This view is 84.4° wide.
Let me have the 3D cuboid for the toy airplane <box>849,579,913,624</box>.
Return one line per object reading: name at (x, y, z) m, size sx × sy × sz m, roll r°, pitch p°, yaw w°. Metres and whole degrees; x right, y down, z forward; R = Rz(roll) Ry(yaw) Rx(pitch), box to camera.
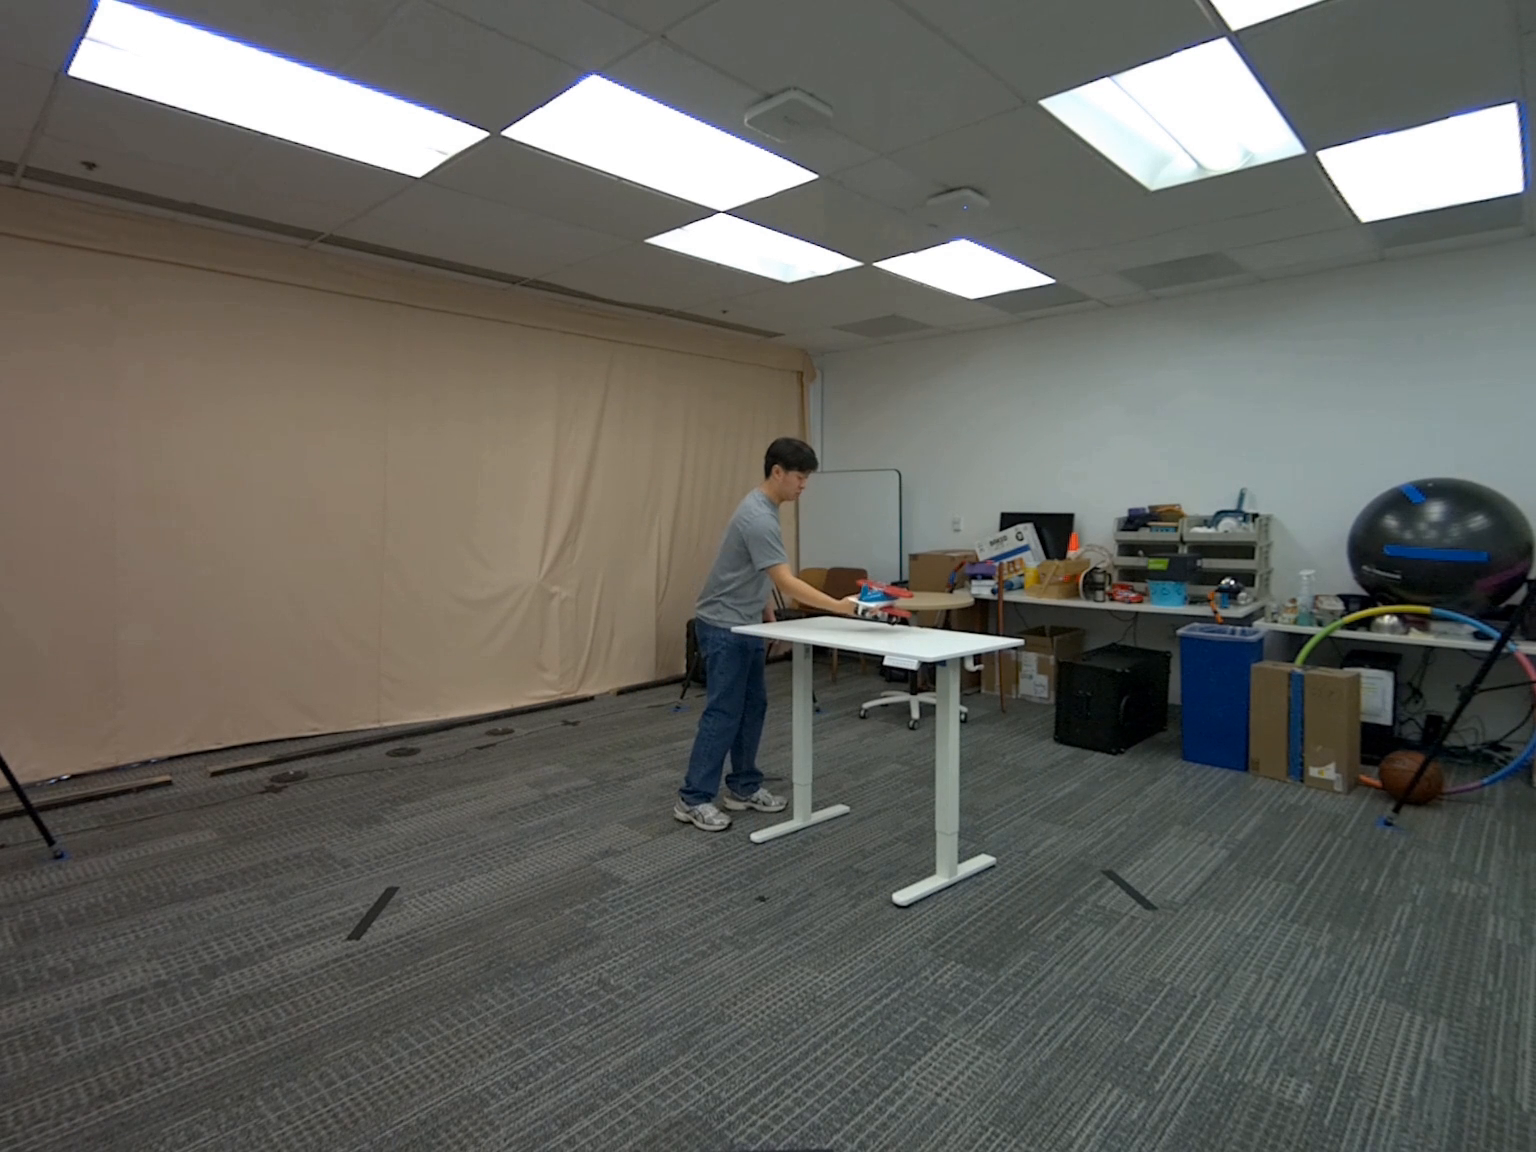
toy airplane at (0.462, 0.104, 3.392) m, size 0.255 × 0.156 × 0.255 m, roll 16°, pitch -1°, yaw 12°
